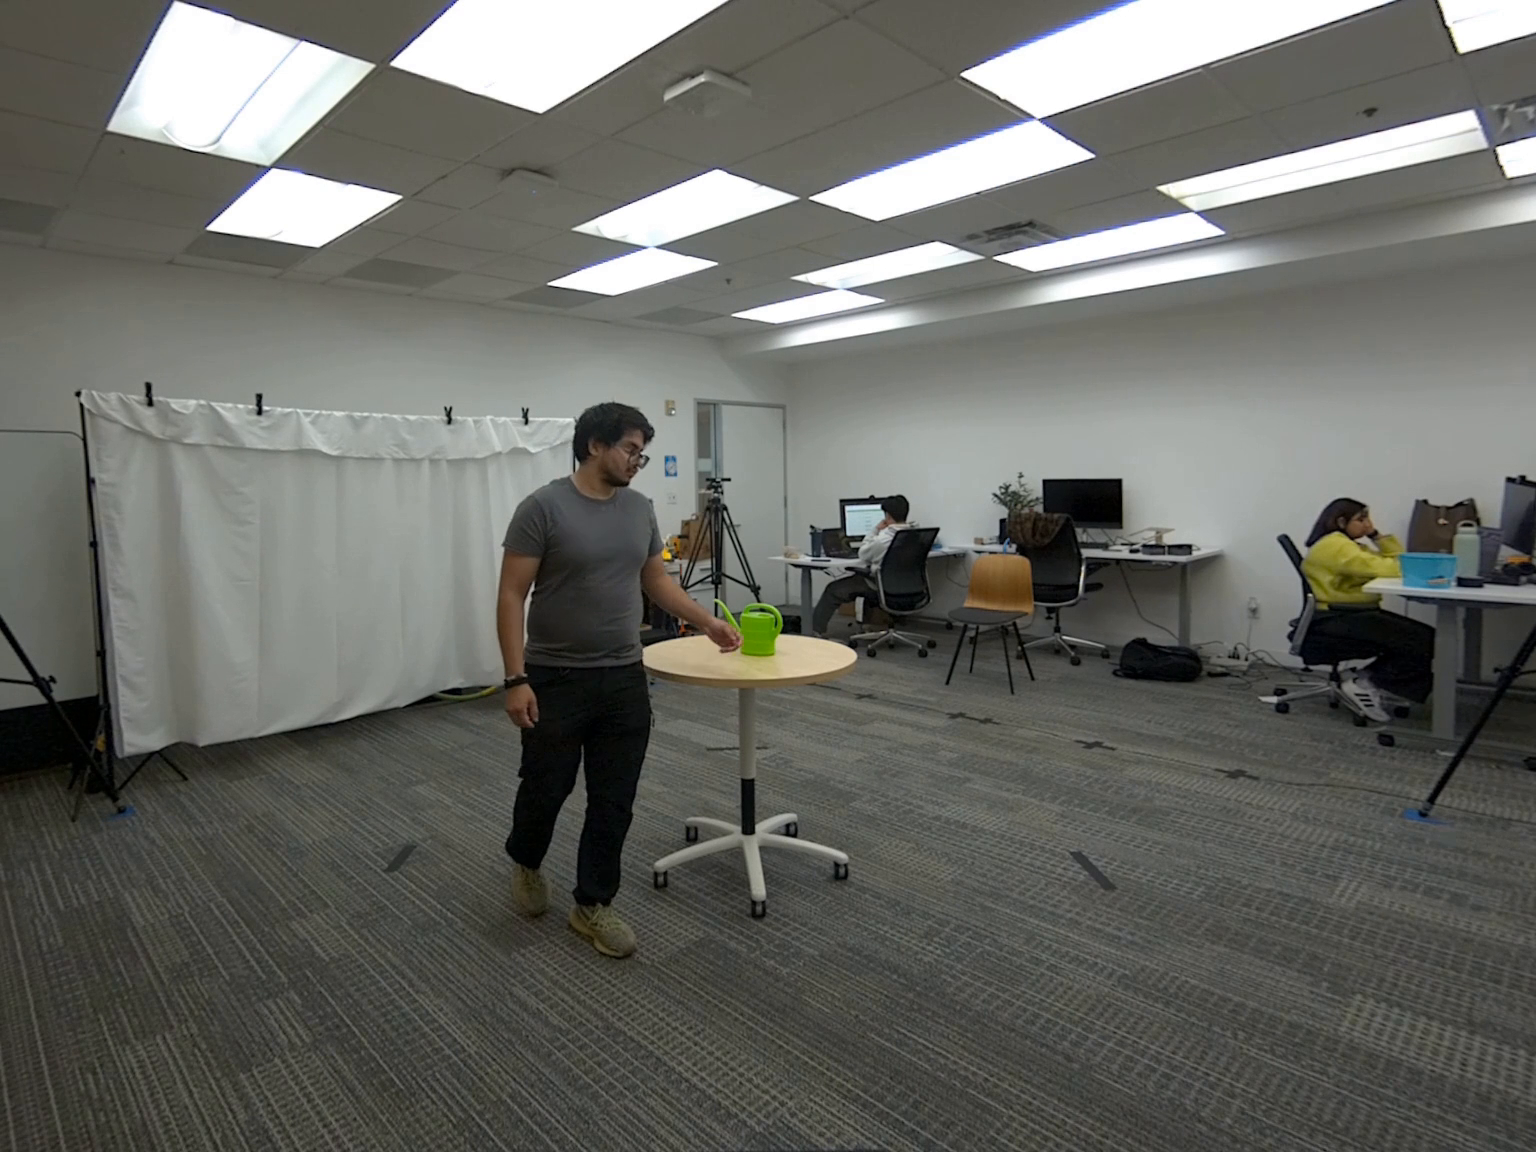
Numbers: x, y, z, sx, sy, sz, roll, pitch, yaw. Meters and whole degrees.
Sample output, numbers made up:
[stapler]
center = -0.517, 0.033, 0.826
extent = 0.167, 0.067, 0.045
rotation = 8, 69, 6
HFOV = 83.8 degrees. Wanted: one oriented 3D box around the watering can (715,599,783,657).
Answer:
[watering can]
center = -0.061, 0.182, 3.023
extent = 0.287, 0.176, 0.095
rotation = 5, 5, 43
